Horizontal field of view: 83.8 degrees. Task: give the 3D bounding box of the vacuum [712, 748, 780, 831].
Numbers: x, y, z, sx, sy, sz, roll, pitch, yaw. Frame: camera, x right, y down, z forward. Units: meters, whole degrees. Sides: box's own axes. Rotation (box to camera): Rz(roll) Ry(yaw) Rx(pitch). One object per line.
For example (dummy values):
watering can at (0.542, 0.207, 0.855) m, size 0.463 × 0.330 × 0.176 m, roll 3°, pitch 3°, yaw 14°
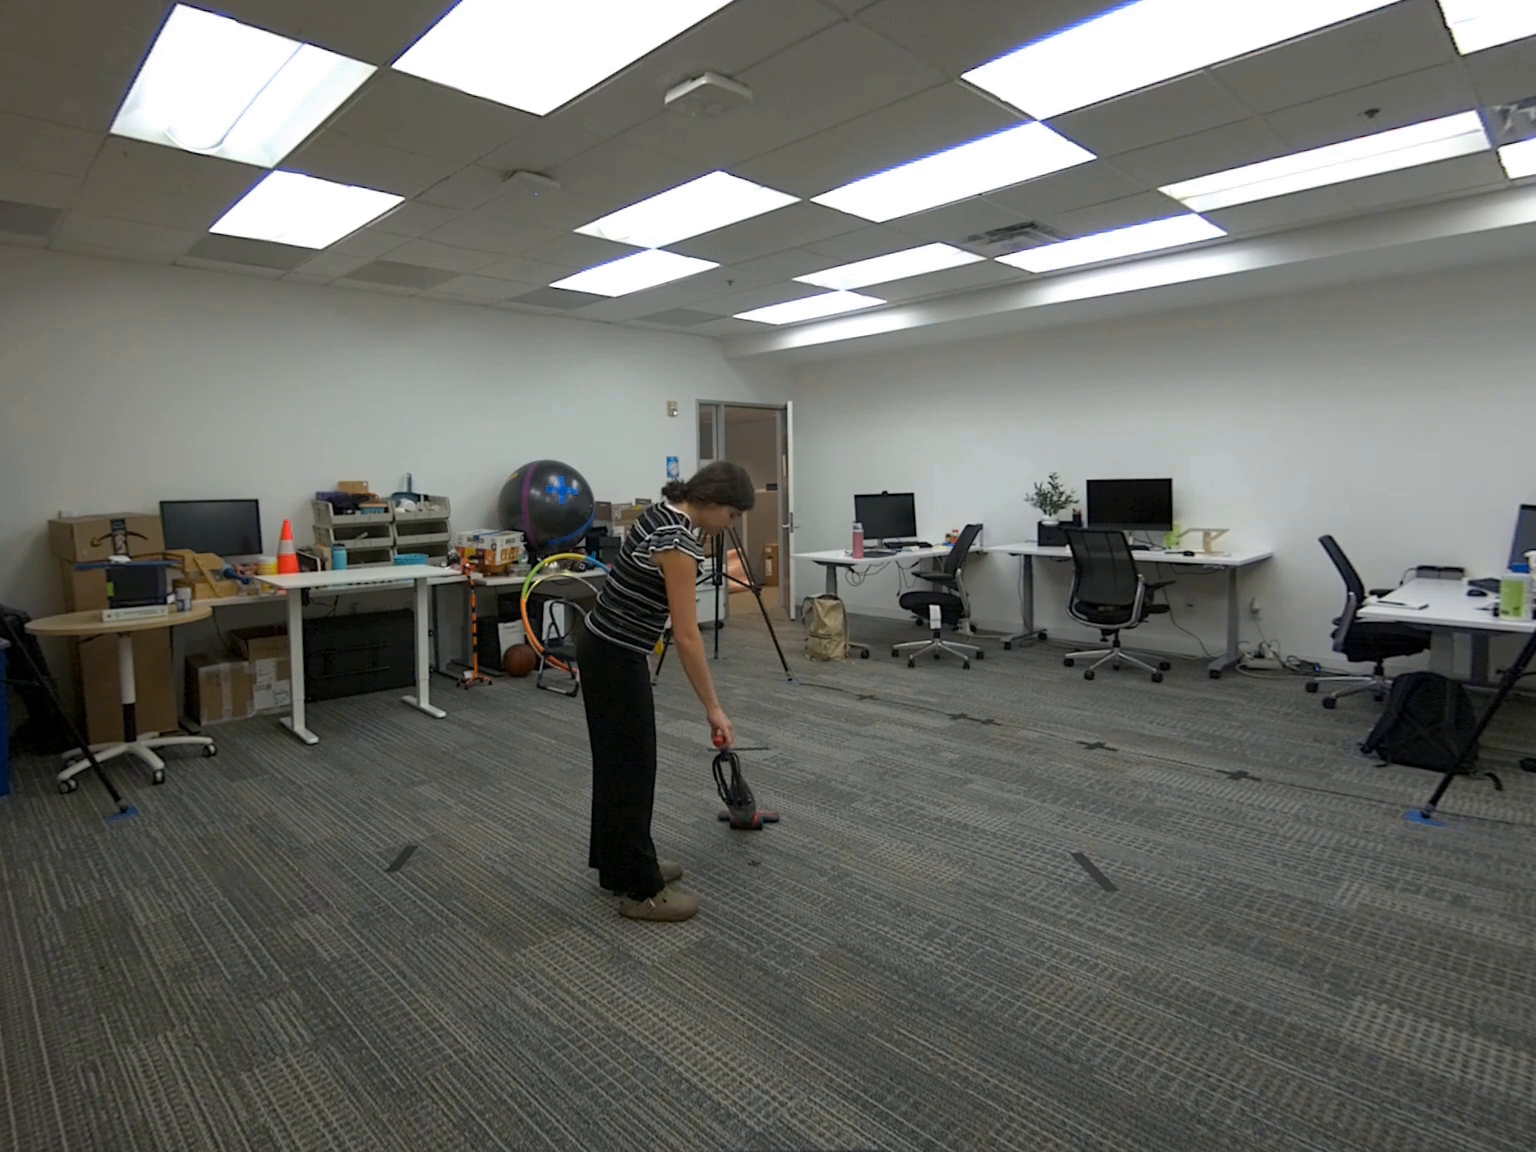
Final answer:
vacuum at (-0.123, 0.745, 3.032) m, size 0.255 × 0.146 × 1.020 m, roll 6°, pitch -28°, yaw 8°
